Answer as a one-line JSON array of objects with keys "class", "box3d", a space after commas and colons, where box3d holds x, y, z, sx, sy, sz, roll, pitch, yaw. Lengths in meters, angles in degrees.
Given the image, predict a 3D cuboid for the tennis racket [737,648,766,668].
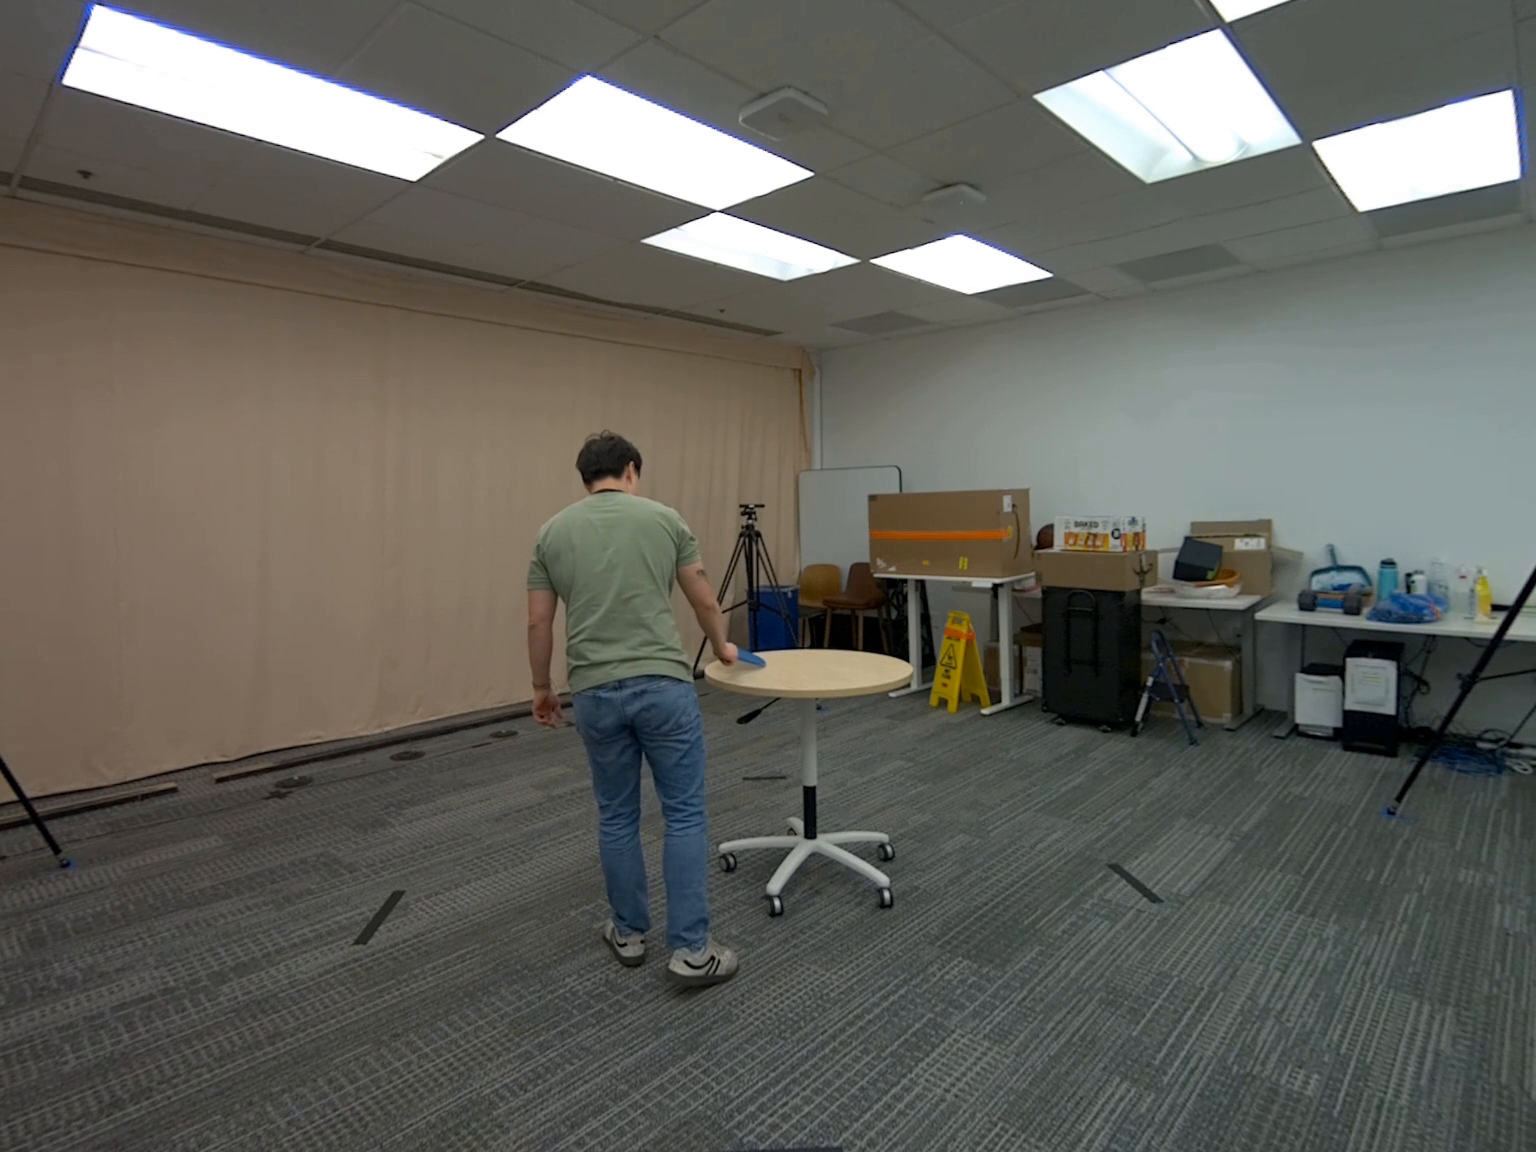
[{"class": "tennis racket", "box3d": [-0.099, 0.290, 3.108, 0.216, 0.032, 0.429, 23, 0, 6]}]
